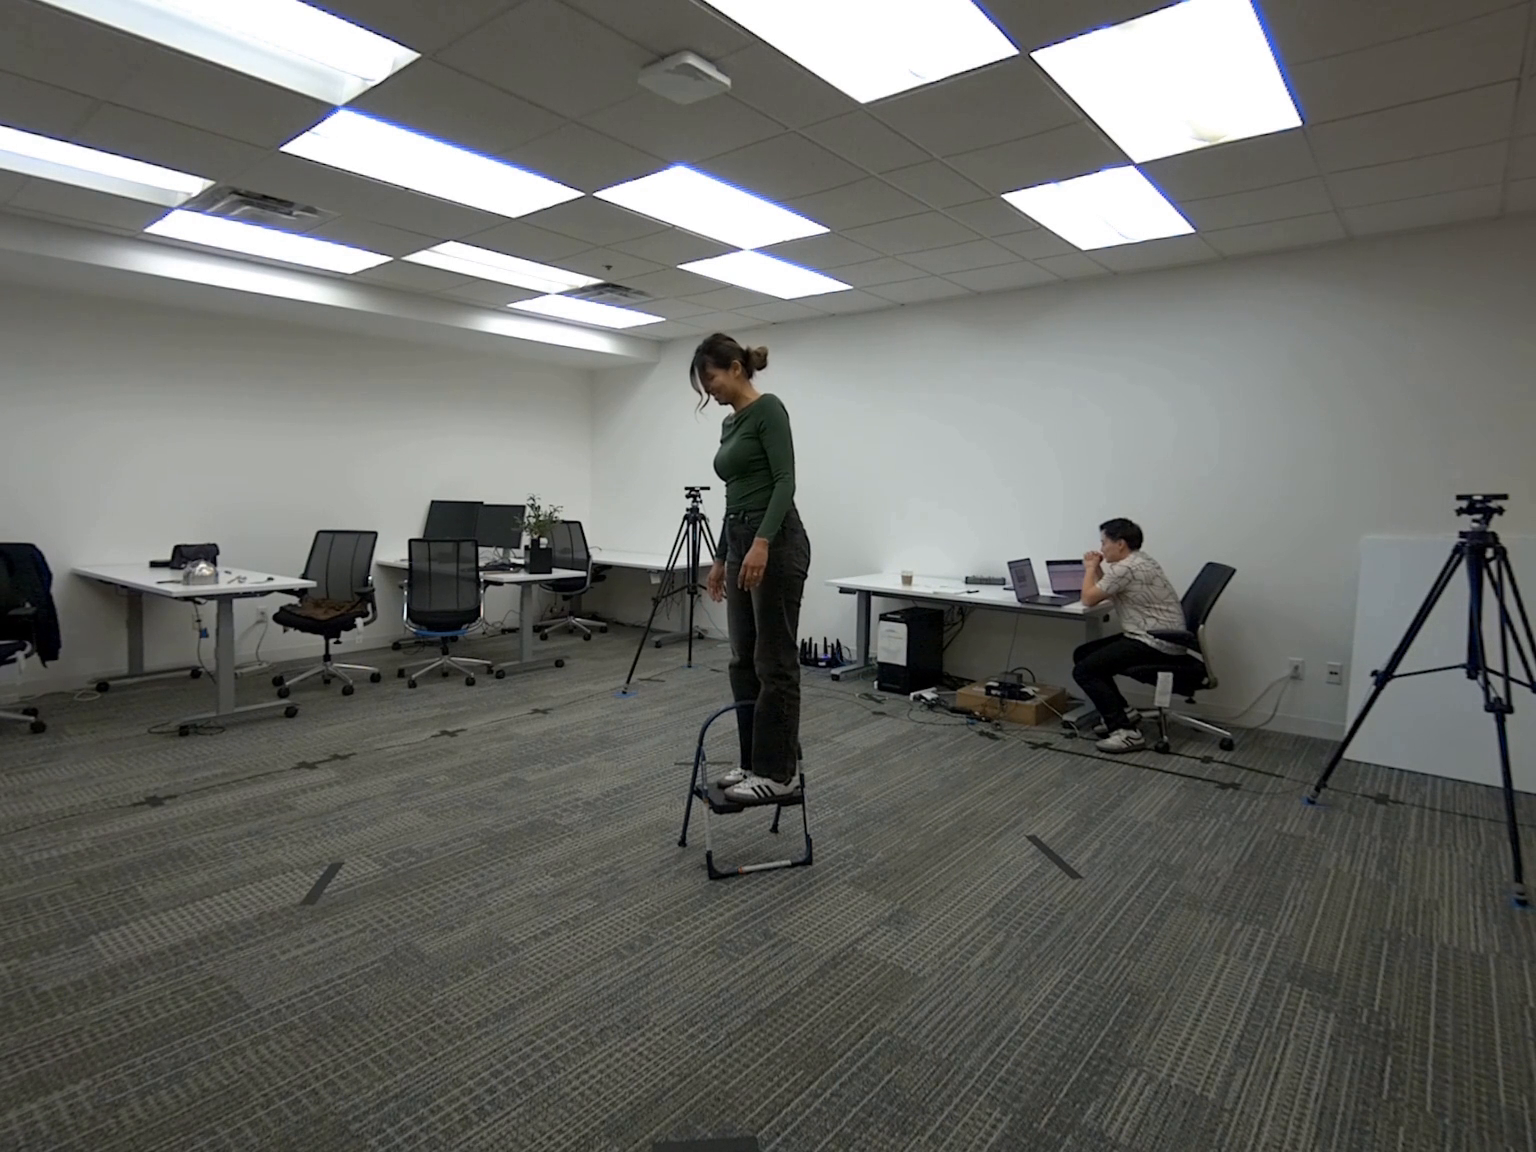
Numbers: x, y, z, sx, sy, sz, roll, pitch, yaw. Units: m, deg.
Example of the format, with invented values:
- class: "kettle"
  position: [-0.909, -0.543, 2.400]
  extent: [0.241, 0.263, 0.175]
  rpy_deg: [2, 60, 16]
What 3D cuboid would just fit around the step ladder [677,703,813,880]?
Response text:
- class: "step ladder"
  position: [-0.097, 0.753, 3.222]
  extent: [0.421, 0.604, 0.358]
  rpy_deg: [-1, 4, -23]
